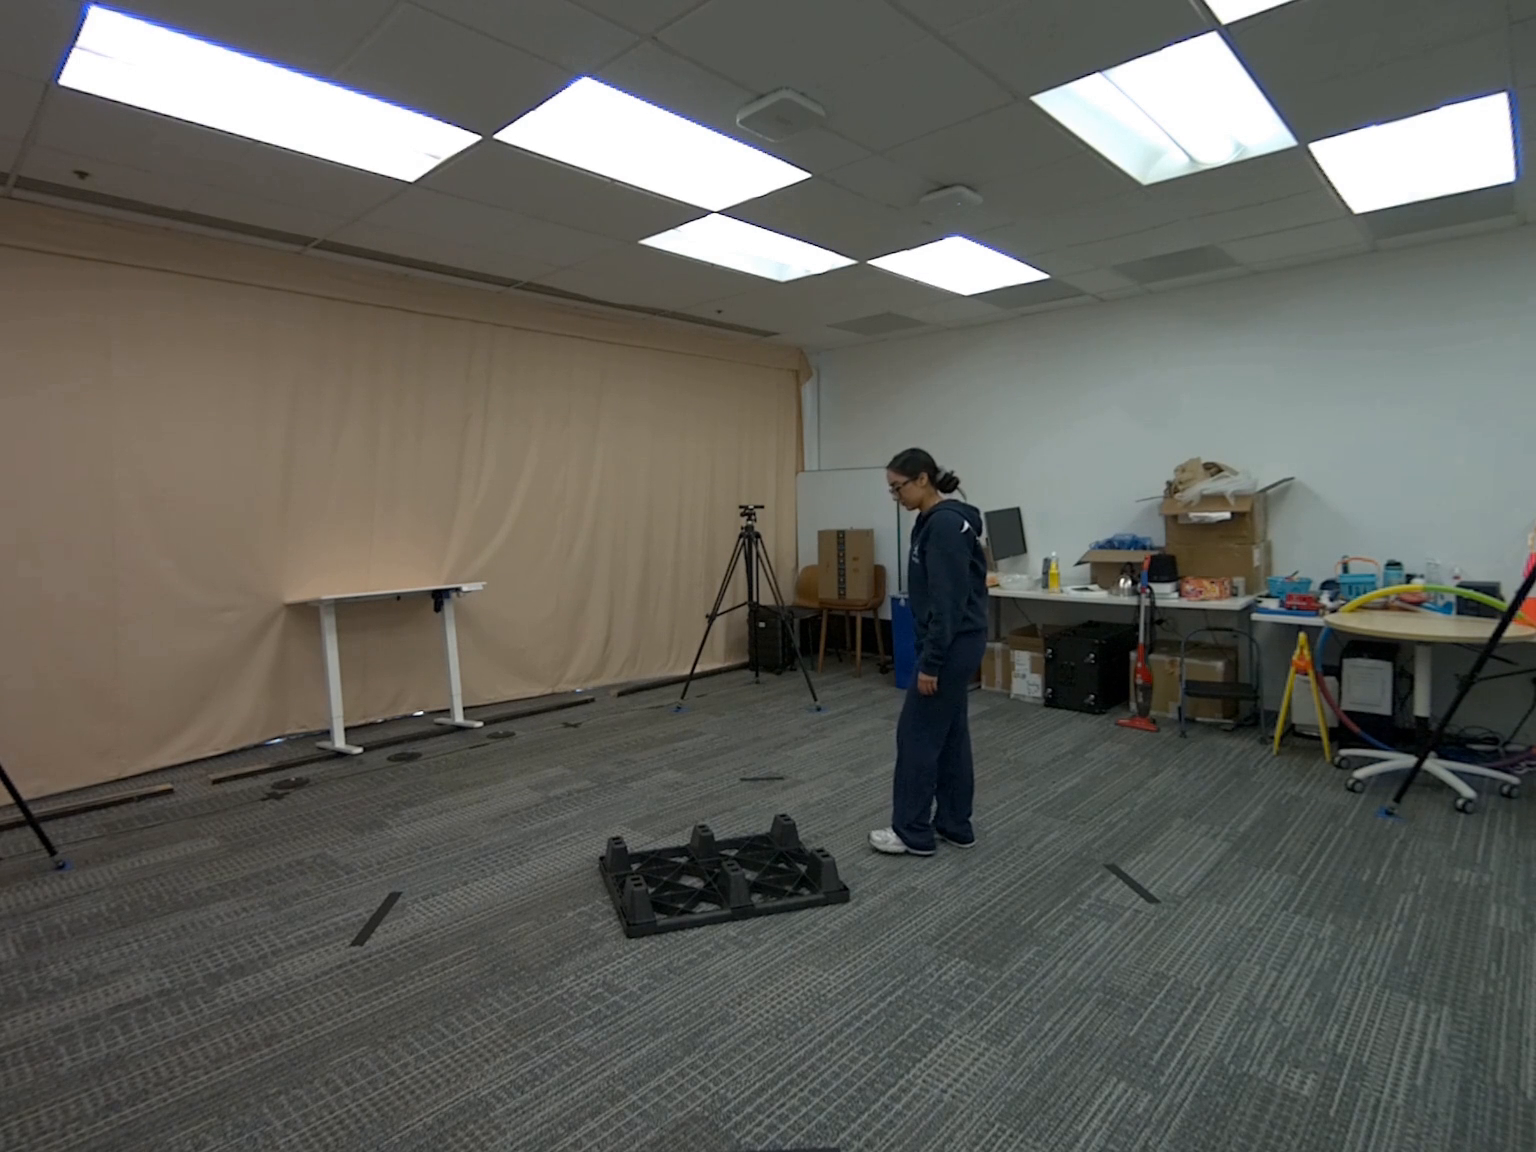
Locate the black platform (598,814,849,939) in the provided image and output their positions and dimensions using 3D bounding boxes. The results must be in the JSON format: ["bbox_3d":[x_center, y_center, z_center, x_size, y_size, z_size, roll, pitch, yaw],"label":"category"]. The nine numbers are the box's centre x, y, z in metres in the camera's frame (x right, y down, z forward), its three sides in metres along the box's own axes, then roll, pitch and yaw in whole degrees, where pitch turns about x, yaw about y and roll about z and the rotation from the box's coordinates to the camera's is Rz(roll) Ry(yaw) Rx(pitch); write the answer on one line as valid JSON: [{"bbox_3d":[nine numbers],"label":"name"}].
[{"bbox_3d":[-0.186,1.065,3.104,0.791,0.143,0.618,-3,5,-19],"label":"black platform"}]
